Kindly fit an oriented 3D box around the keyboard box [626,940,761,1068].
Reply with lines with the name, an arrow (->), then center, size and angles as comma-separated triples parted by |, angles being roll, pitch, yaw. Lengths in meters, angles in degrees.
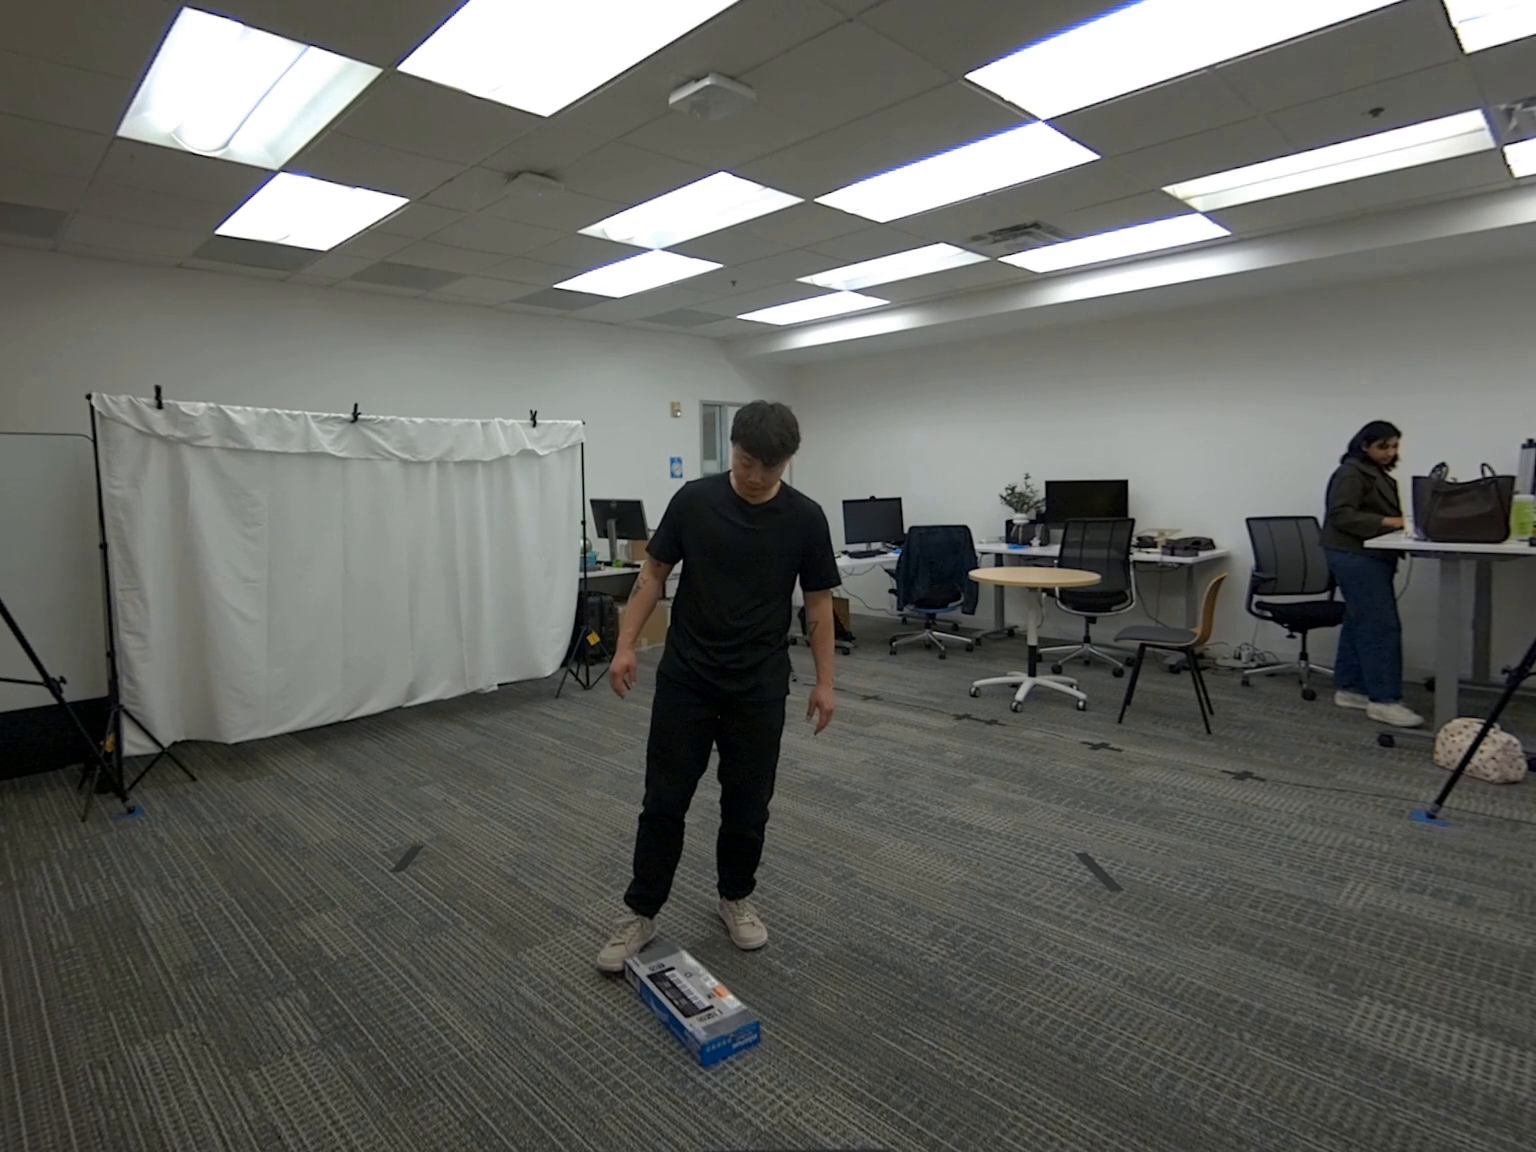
keyboard box -> -0.203, 1.122, 2.264 | 0.172, 0.059, 0.449 | -5, 7, -33
